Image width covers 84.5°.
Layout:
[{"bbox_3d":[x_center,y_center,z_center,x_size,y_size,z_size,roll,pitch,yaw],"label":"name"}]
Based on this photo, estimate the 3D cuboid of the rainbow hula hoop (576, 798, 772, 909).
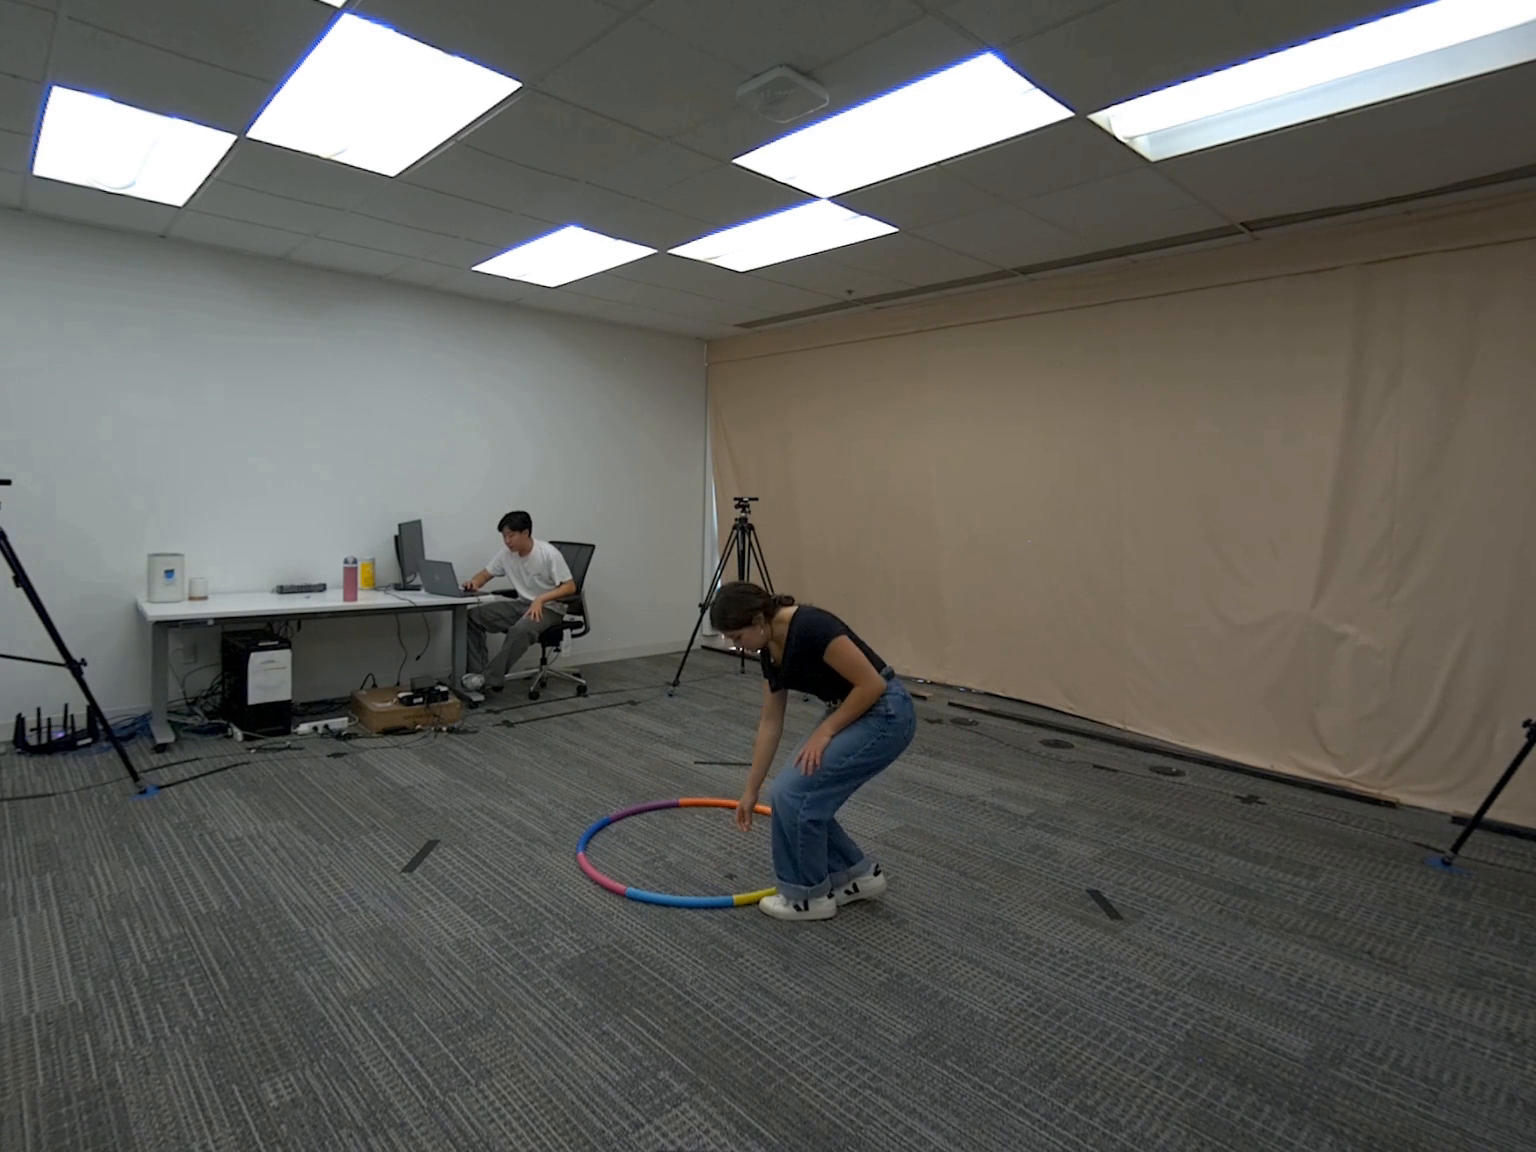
[{"bbox_3d":[-0.266,1.058,3.333,0.978,0.035,0.982,1,5,-1],"label":"rainbow hula hoop"}]
